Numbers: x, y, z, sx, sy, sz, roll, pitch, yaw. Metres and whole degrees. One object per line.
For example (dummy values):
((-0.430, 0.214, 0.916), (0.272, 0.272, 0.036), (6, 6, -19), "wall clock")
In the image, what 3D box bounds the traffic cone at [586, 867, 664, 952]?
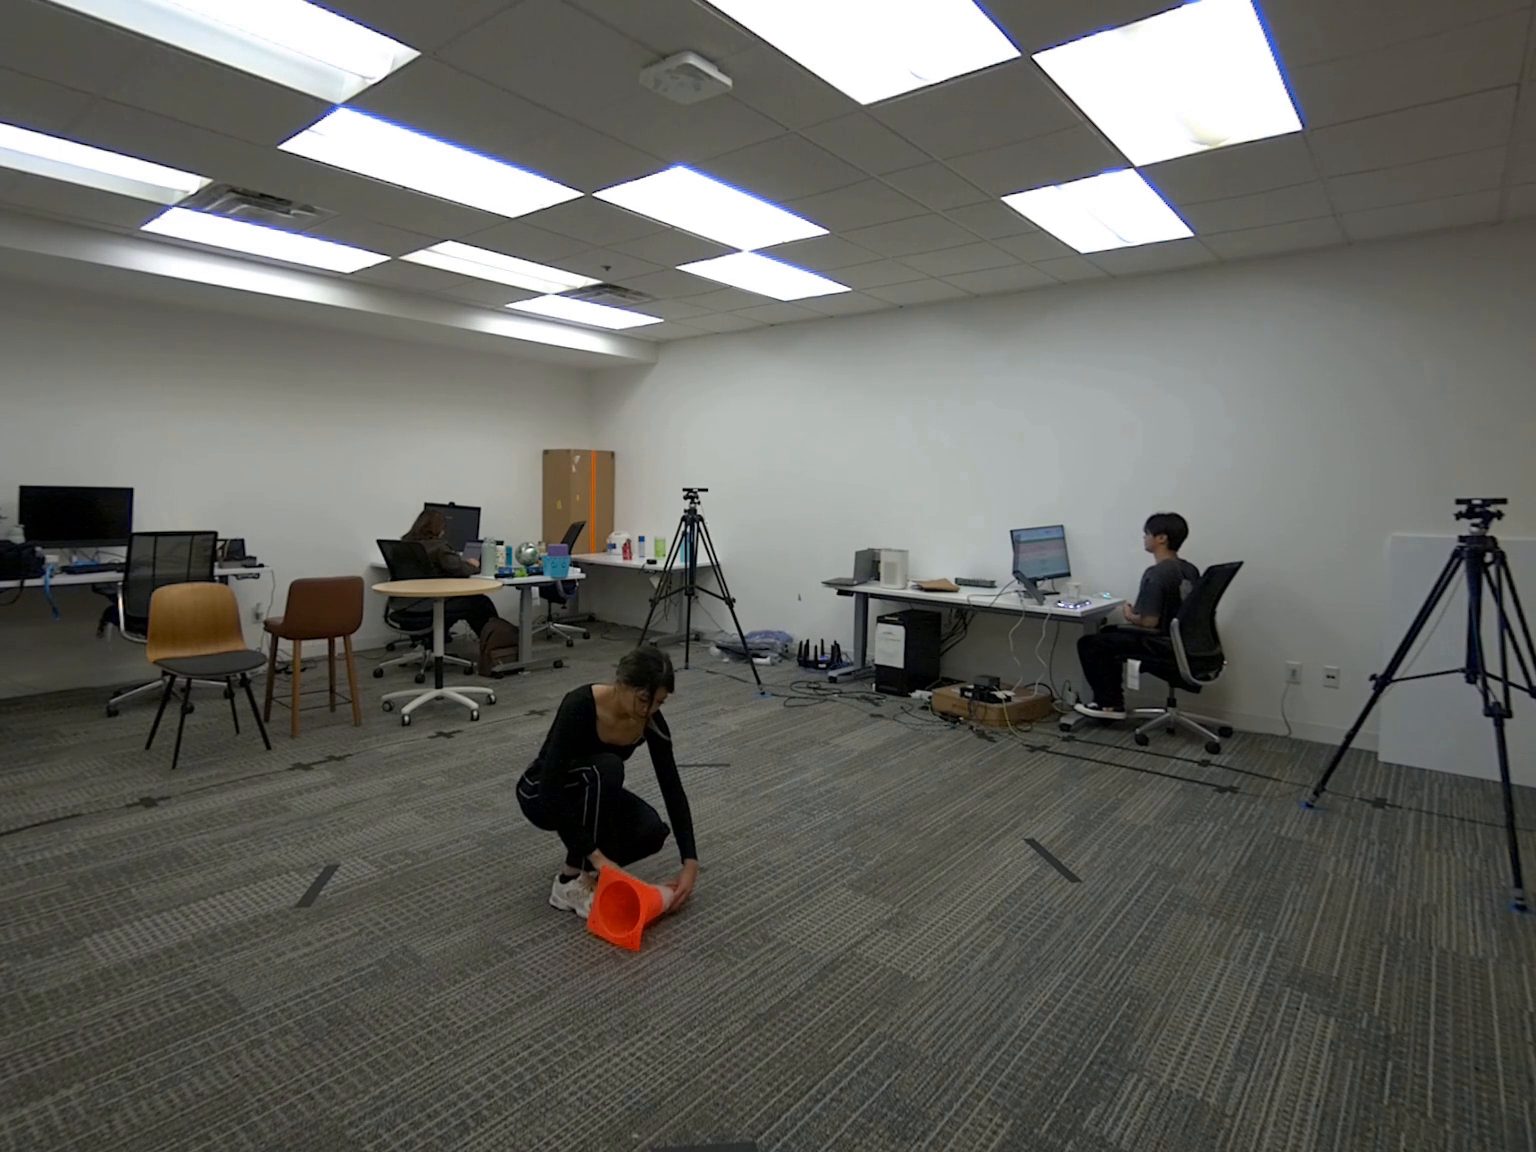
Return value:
((-0.381, 1.040, 2.750), (0.210, 0.205, 0.370), (12, -4, 29), "traffic cone")
